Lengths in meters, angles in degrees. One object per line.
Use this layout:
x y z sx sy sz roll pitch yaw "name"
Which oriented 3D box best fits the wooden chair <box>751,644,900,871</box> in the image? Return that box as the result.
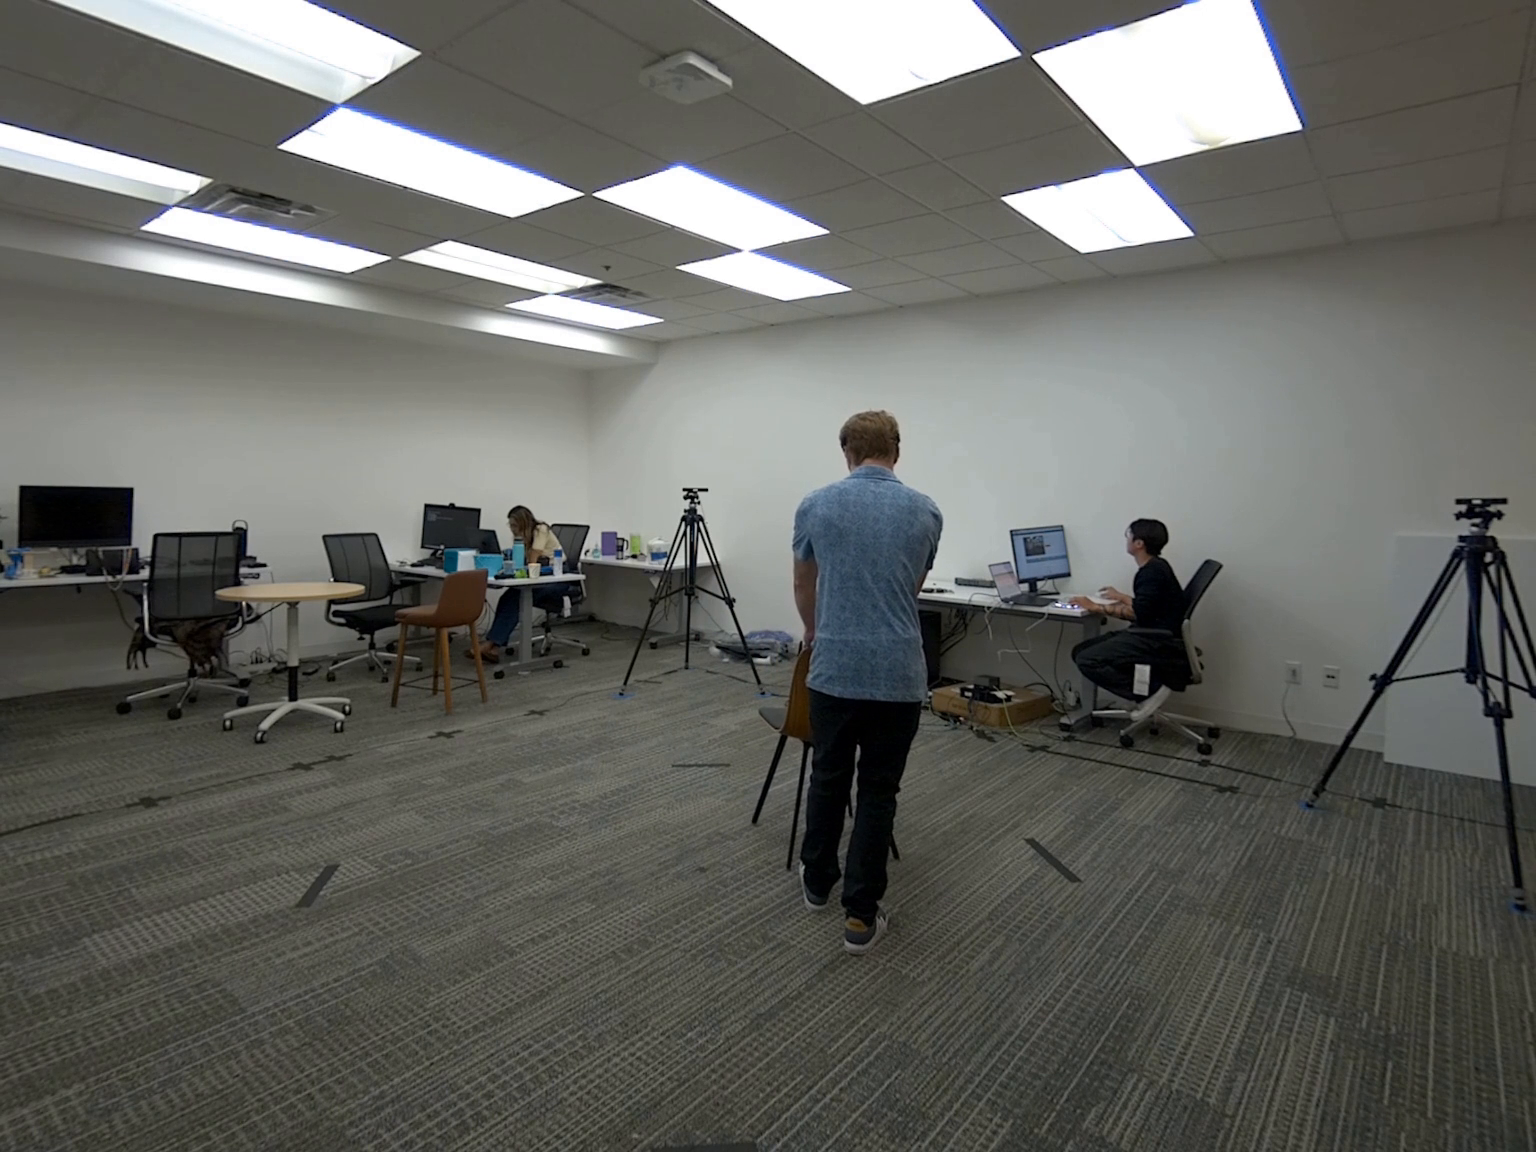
0.204 0.619 3.370 0.470 0.871 0.536 0 8 -17 "wooden chair"
